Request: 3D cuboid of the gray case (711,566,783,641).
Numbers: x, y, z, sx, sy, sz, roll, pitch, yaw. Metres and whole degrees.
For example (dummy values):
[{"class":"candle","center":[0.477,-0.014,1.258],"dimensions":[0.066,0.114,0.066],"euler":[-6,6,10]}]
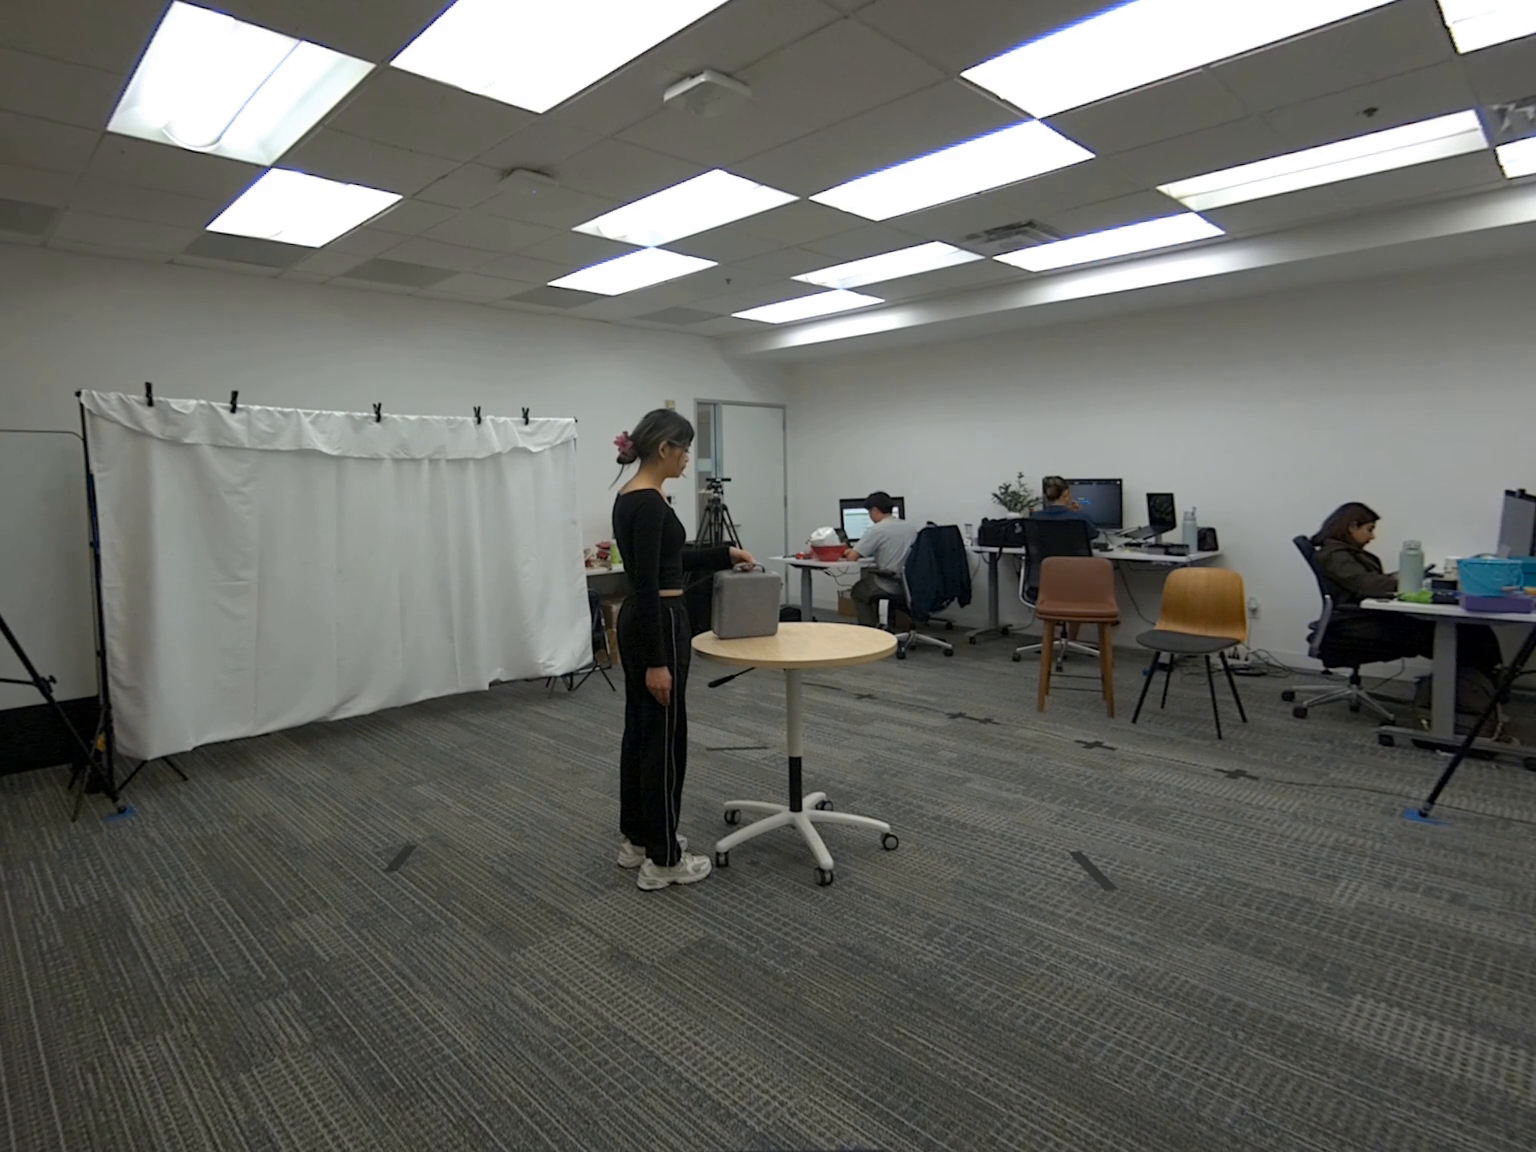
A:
[{"class":"gray case","center":[-0.079,0.100,3.262],"dimensions":[0.252,0.258,0.107],"euler":[-2,9,-20]}]
